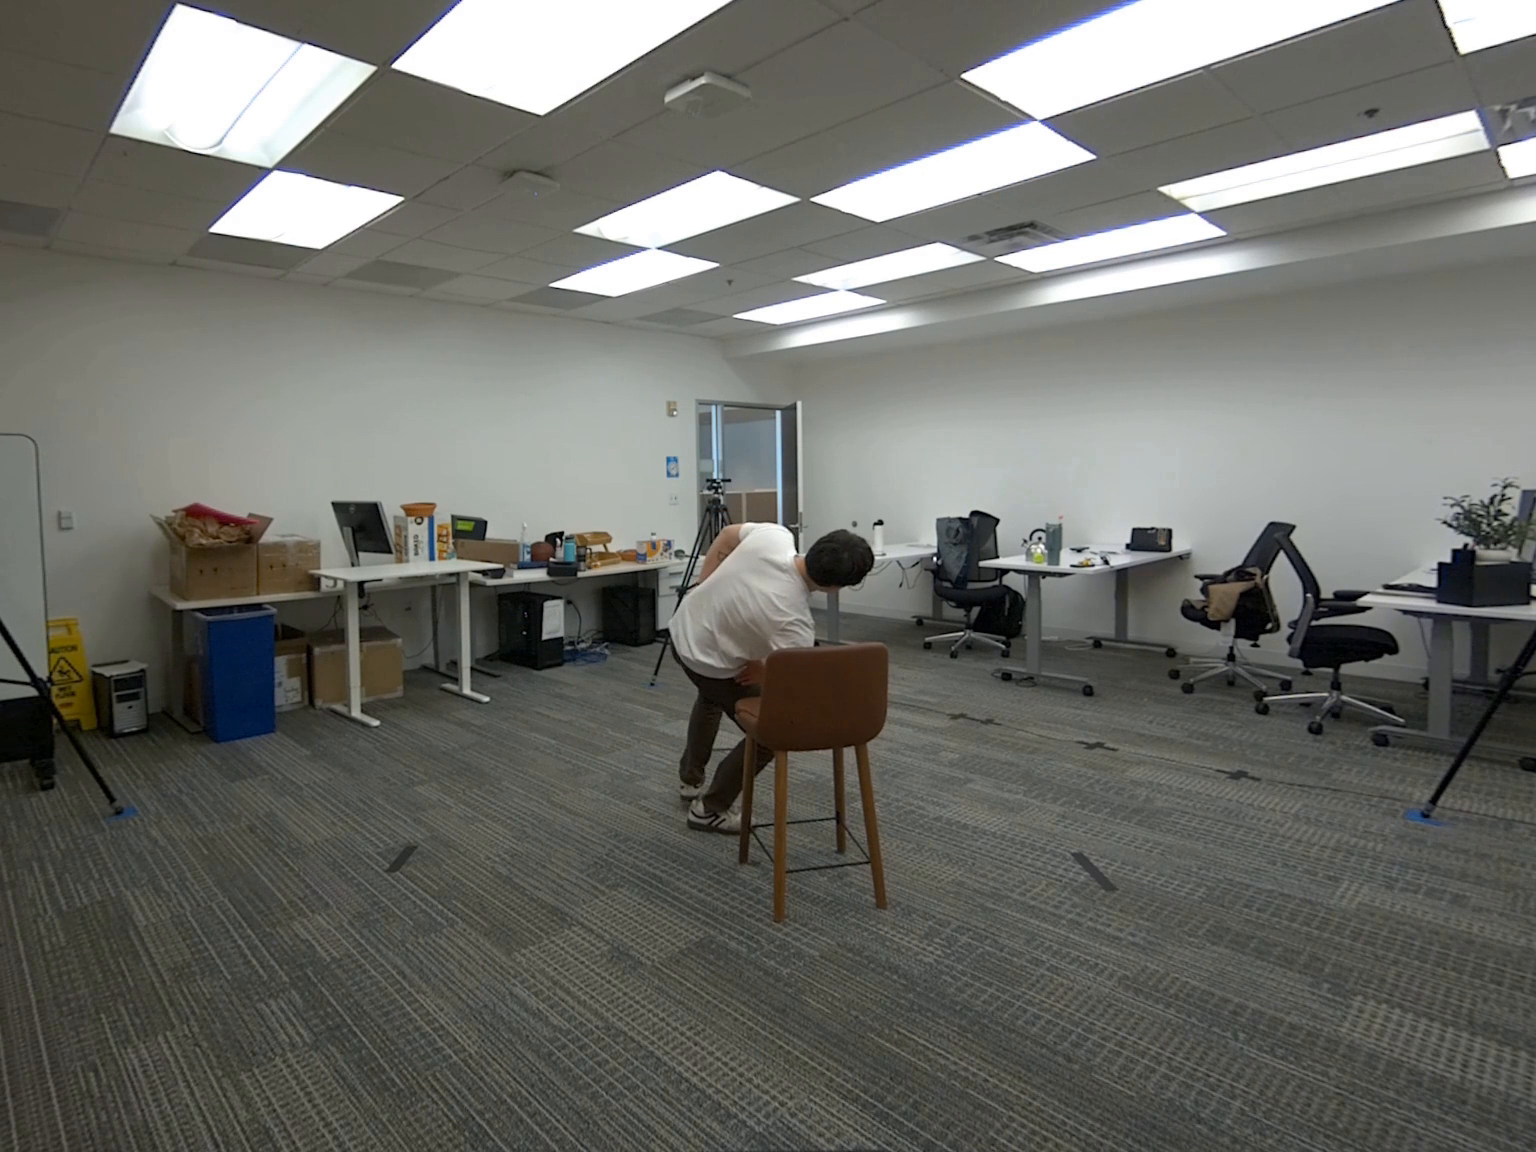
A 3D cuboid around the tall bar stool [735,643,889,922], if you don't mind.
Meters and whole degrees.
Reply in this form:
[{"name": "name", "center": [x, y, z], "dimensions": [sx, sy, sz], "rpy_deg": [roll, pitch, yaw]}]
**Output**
[{"name": "tall bar stool", "center": [0.145, 0.629, 2.914], "dimensions": [0.451, 0.886, 0.476], "rpy_deg": [-2, 5, -14]}]
